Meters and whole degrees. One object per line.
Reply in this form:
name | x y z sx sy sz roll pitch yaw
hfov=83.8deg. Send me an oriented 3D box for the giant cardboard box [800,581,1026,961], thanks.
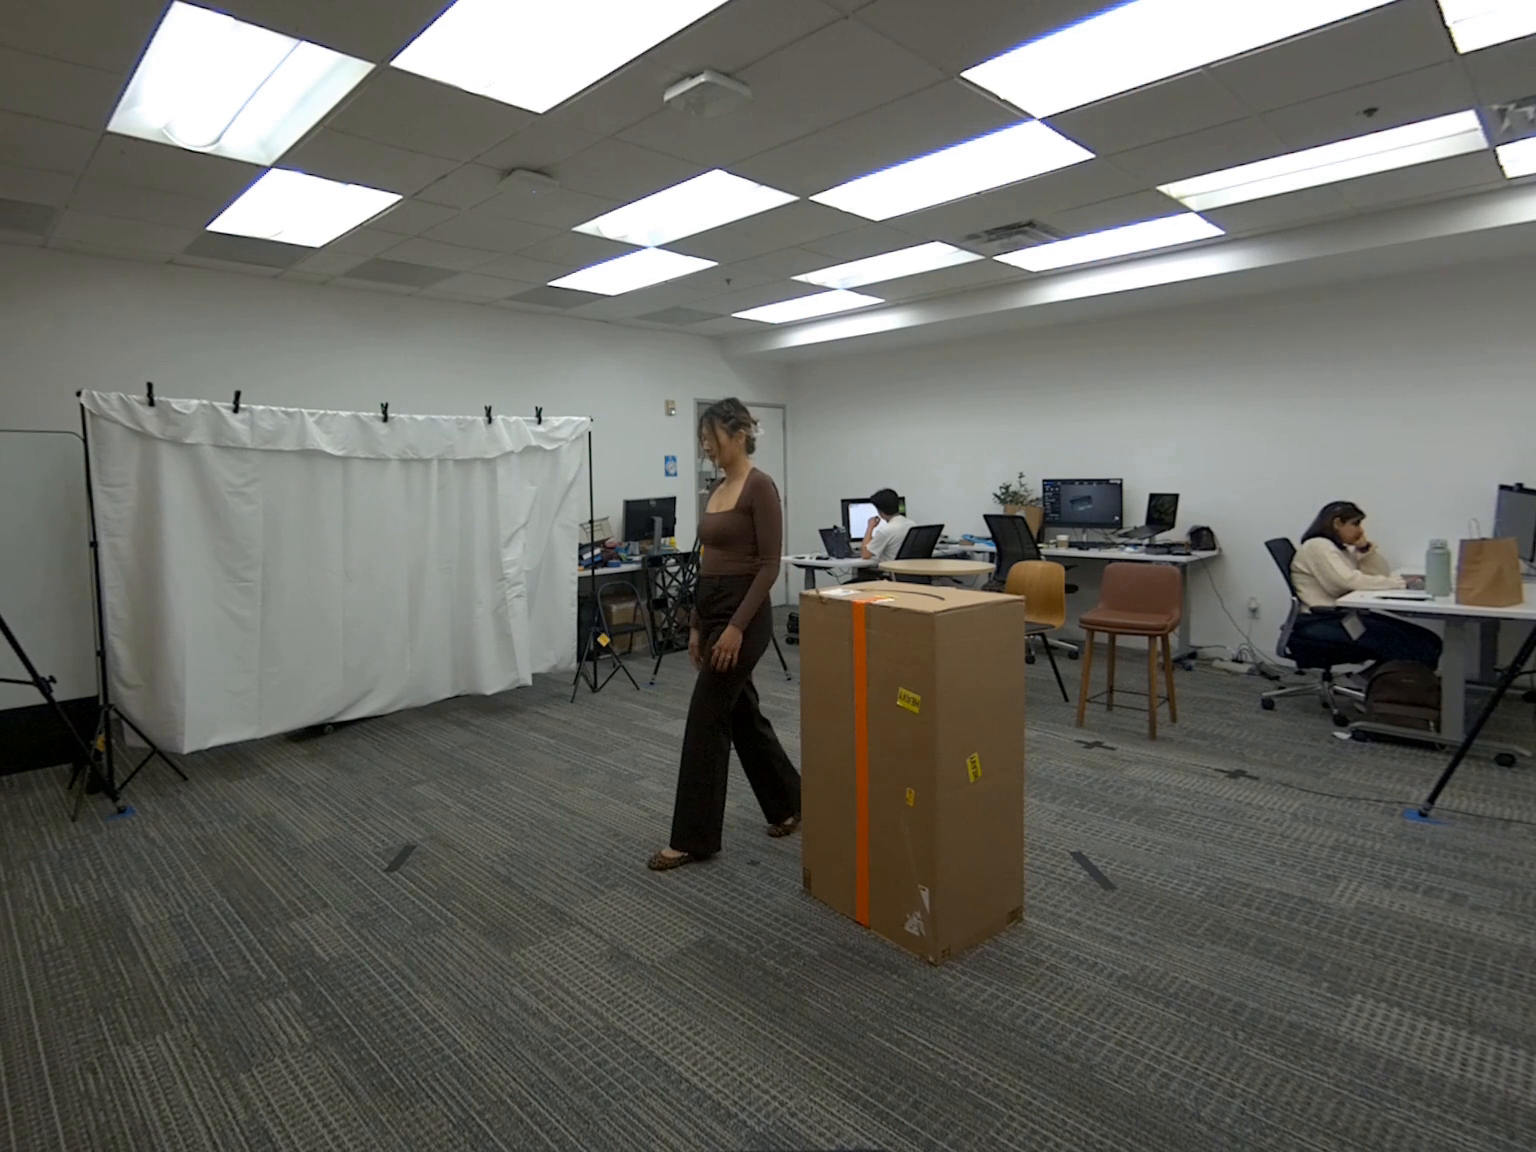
giant cardboard box | 0.455 0.565 2.744 0.435 1.023 0.601 -5 6 -37
